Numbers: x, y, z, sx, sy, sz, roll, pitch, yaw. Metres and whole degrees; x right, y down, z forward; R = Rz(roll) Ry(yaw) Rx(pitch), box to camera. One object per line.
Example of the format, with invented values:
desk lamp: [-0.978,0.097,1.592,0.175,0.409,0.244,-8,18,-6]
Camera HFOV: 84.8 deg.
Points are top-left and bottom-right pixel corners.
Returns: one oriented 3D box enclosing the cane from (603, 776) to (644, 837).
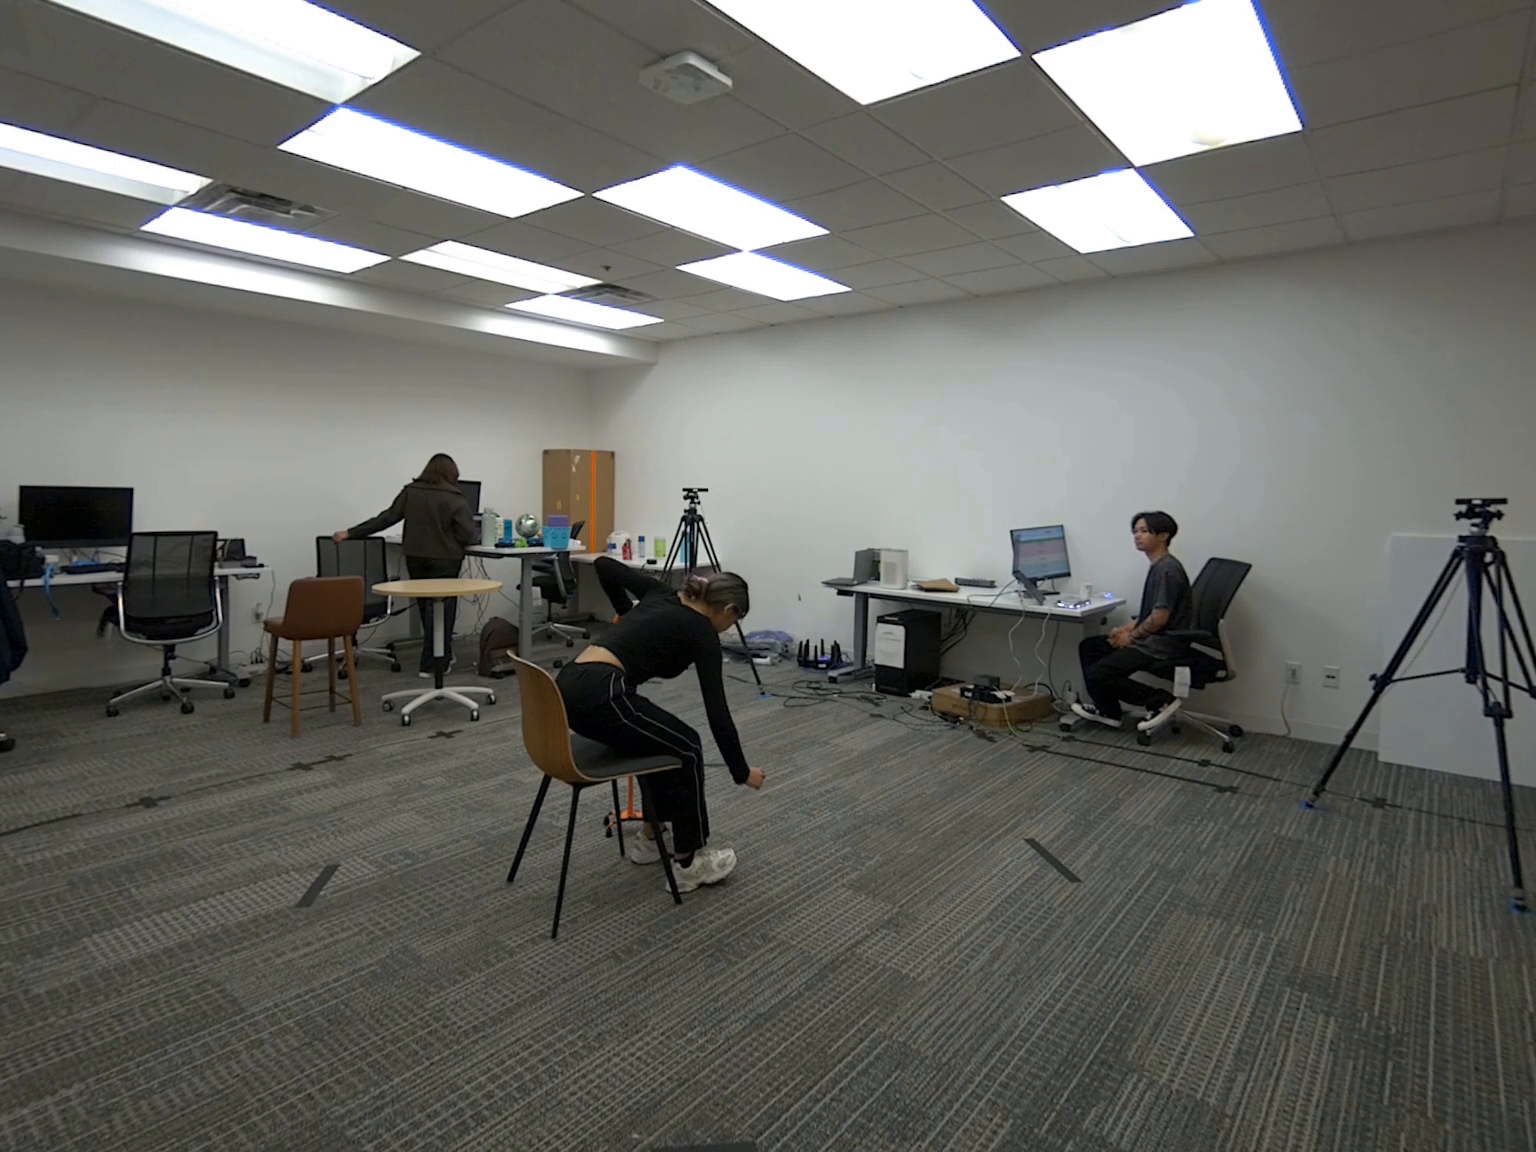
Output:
cane: [-0.571,0.575,3.447,0.203,0.906,0.154,0,3,-14]
